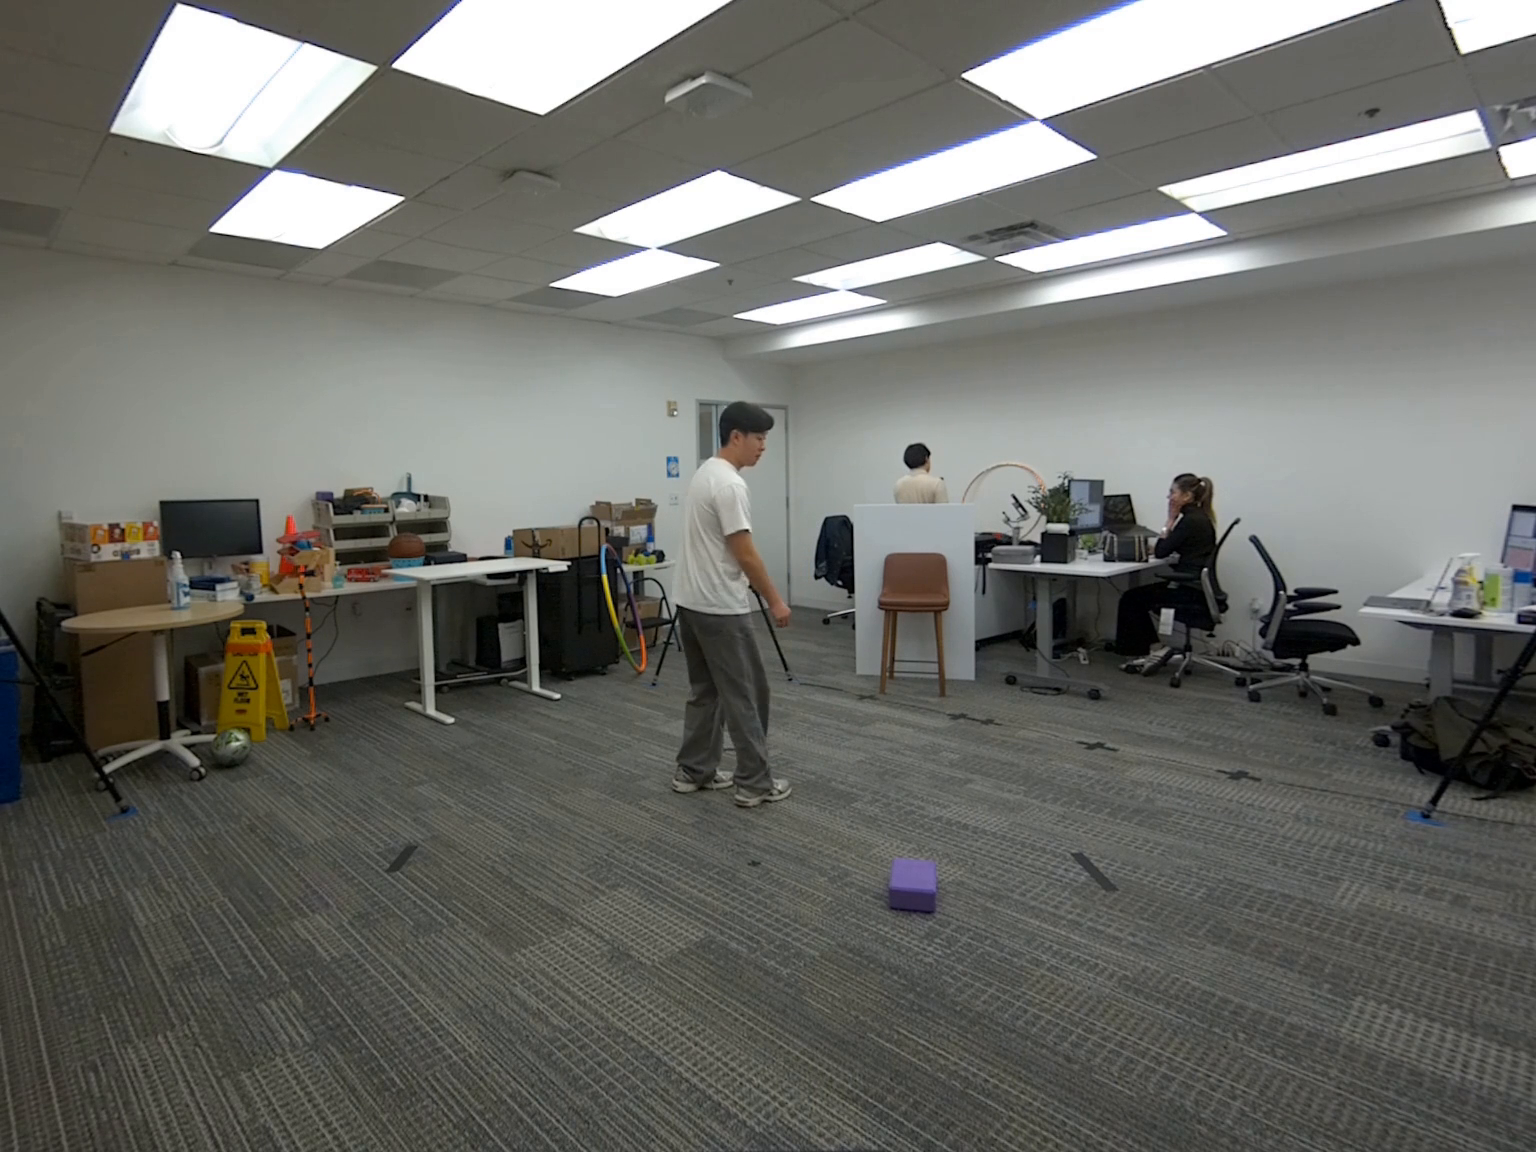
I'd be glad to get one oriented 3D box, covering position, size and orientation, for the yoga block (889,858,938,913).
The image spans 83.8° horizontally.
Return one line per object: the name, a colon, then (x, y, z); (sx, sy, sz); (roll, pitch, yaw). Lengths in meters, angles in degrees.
yoga block: (0.488, 1.026, 2.851); (0.151, 0.076, 0.227); (-1, 6, 13)
